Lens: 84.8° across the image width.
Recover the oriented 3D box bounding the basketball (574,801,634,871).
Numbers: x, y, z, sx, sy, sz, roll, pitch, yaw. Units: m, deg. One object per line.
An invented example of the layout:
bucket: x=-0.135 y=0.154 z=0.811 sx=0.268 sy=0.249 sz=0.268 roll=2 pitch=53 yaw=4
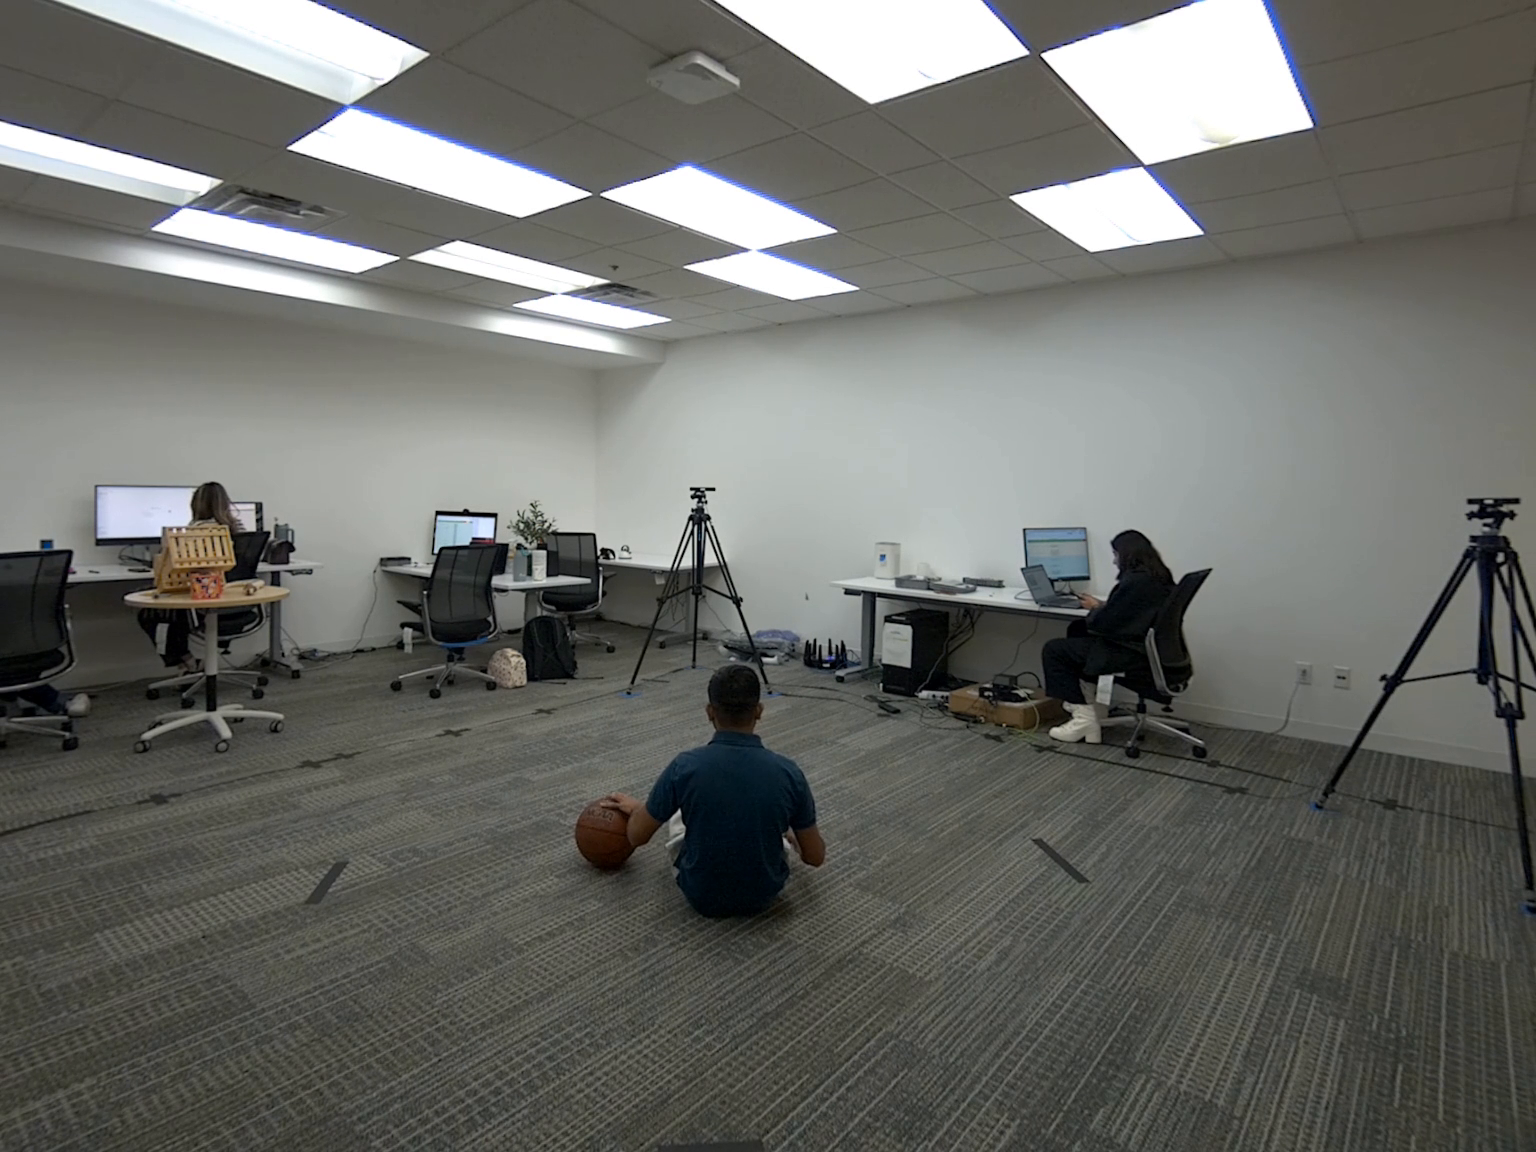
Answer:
basketball: x=-0.598 y=0.933 z=3.126 sx=0.235 sy=0.235 sz=0.237 roll=1 pitch=4 yaw=-2
